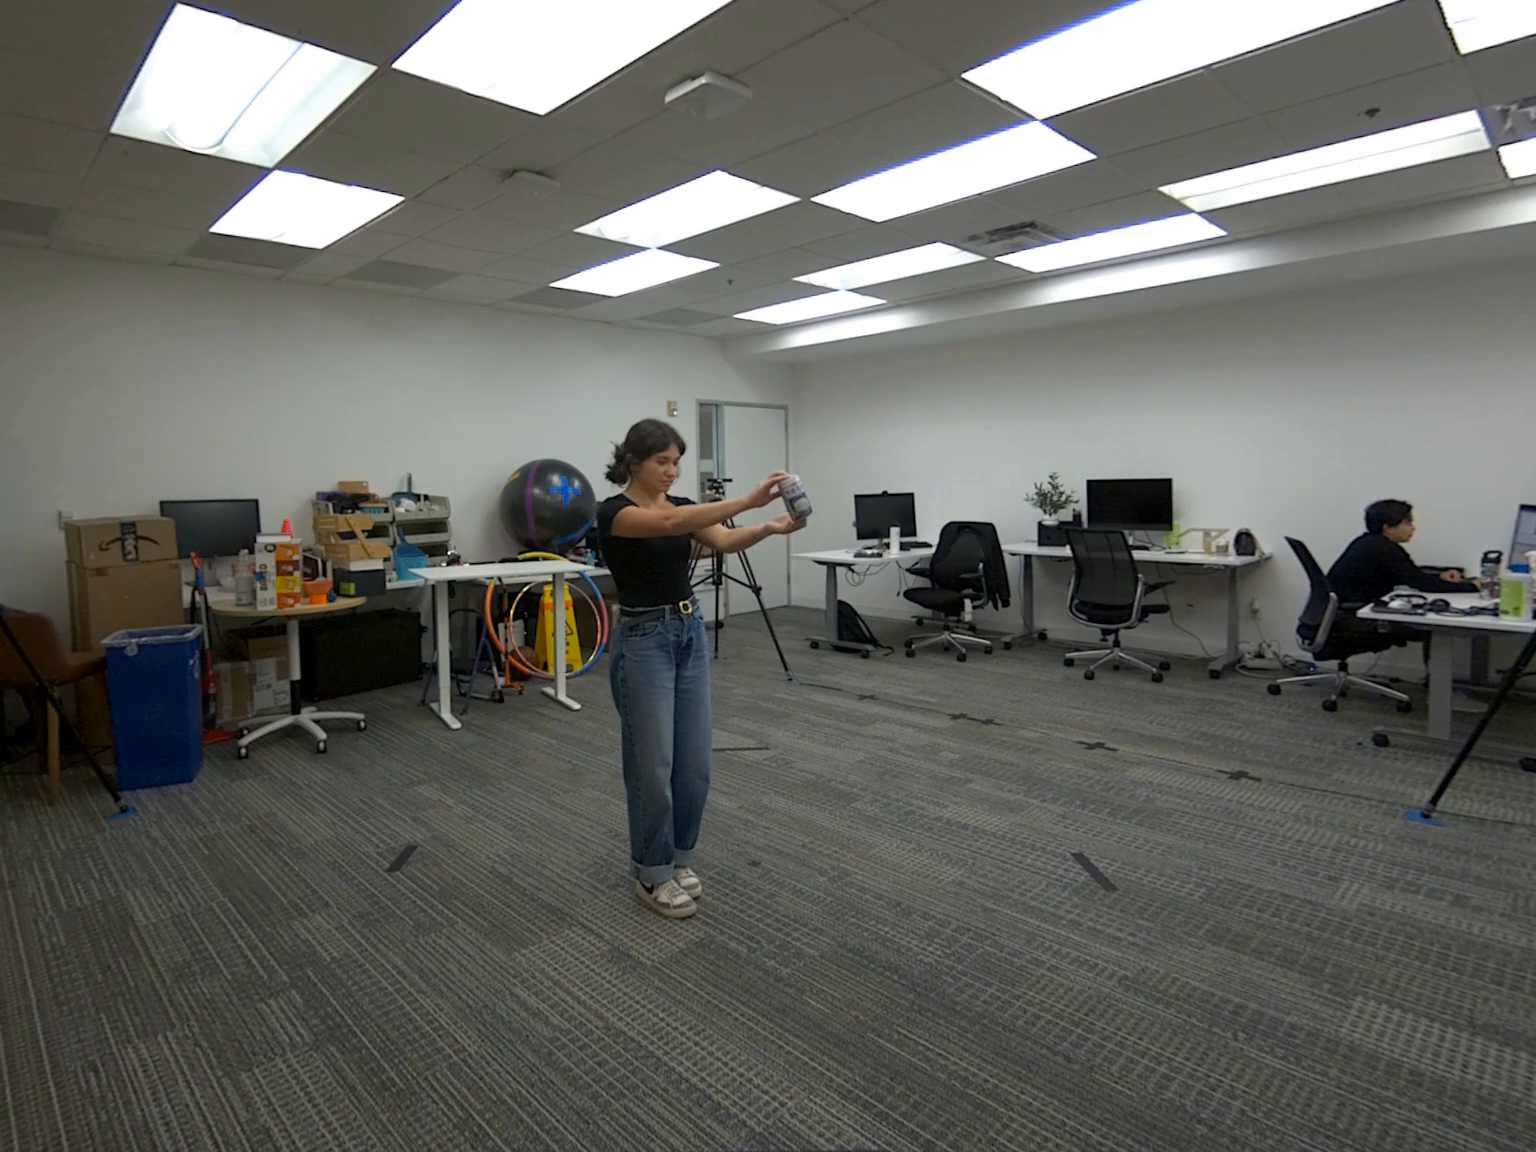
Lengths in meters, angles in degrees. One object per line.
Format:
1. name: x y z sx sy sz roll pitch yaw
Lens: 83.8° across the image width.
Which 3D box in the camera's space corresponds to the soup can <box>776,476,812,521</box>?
1. soup can: 0.078 -0.220 2.409 0.067 0.121 0.067 -19 4 0
